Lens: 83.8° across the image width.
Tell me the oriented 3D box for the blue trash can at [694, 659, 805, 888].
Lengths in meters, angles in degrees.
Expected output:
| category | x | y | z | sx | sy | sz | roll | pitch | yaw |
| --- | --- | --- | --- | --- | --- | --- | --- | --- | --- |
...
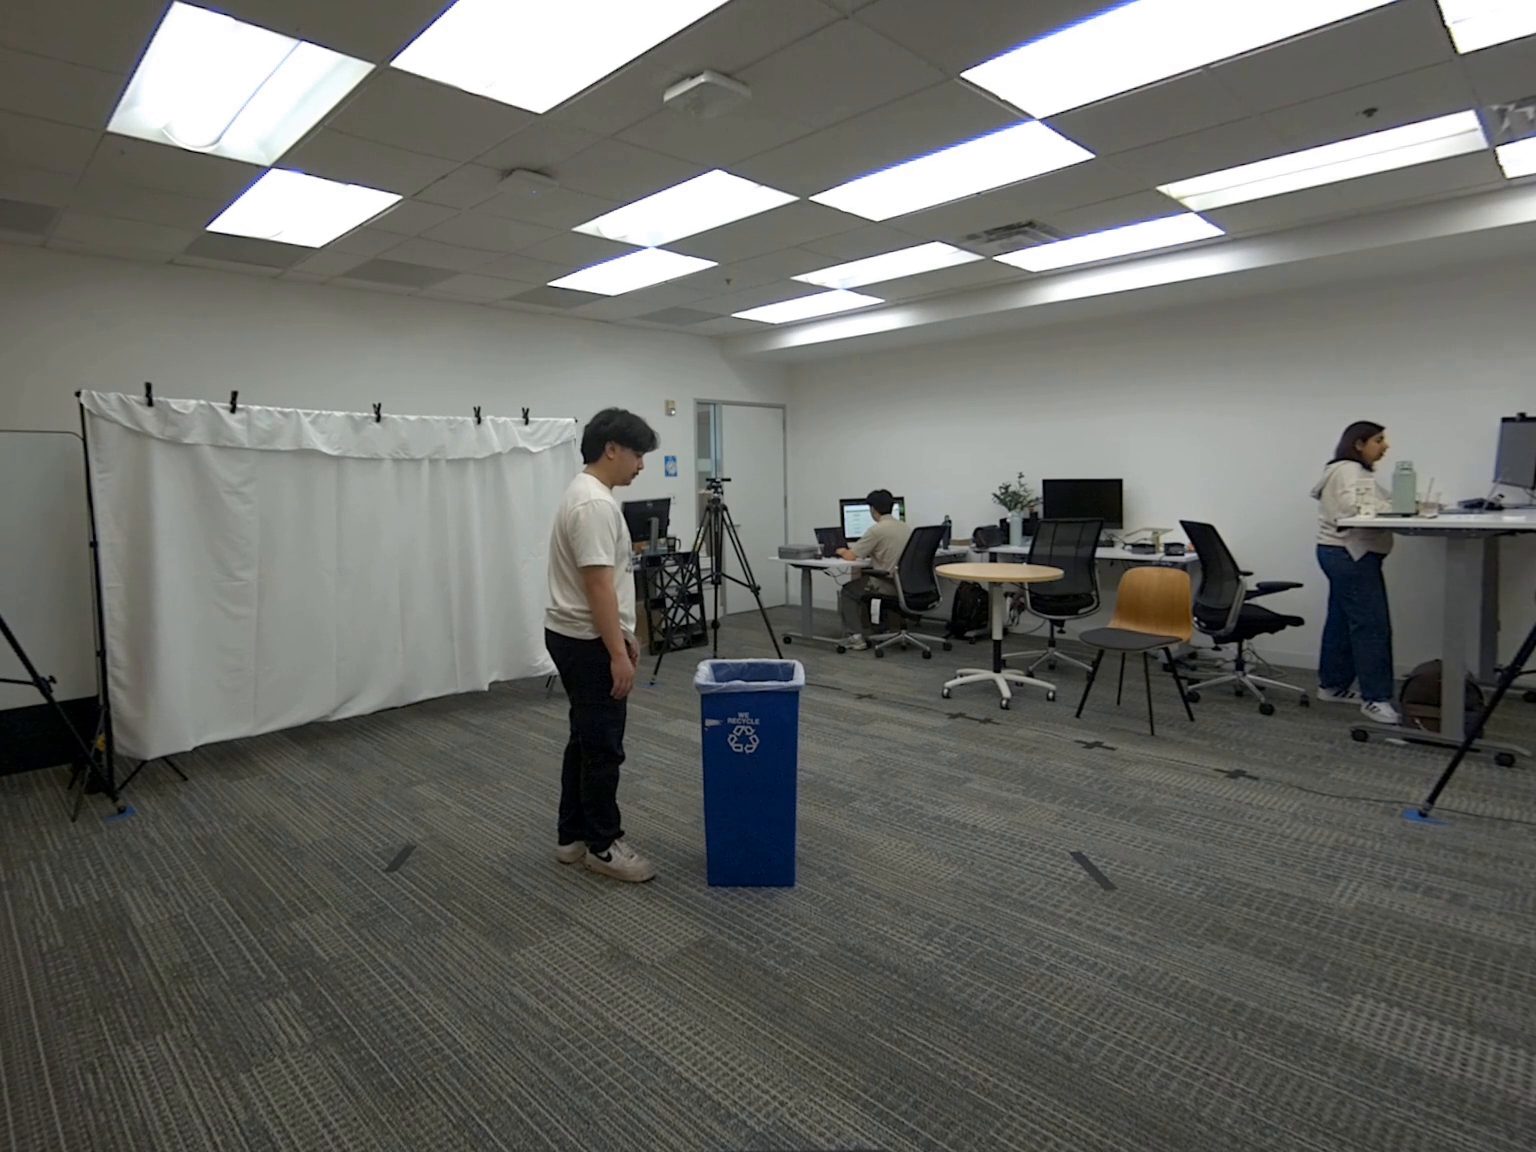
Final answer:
| category | x | y | z | sx | sy | sz | roll | pitch | yaw |
| --- | --- | --- | --- | --- | --- | --- | --- | --- | --- |
| blue trash can | -0.060 | 0.688 | 3.051 | 0.375 | 0.711 | 0.379 | -1 | 4 | 1 |
